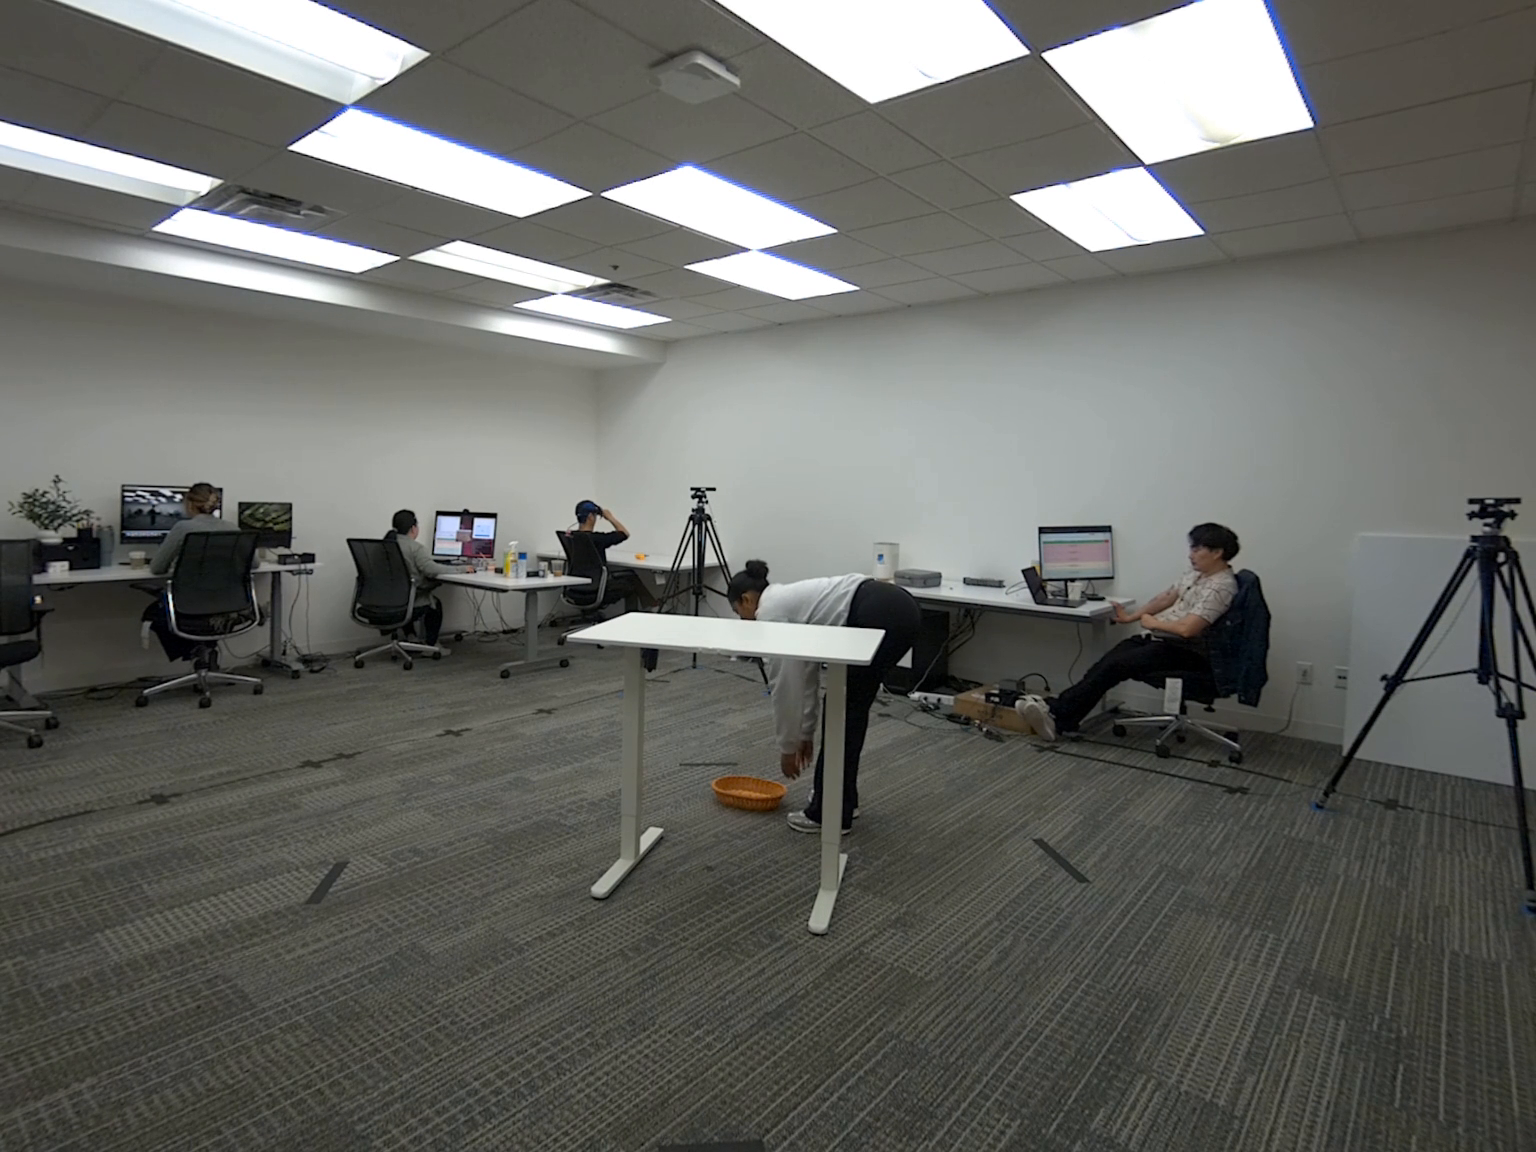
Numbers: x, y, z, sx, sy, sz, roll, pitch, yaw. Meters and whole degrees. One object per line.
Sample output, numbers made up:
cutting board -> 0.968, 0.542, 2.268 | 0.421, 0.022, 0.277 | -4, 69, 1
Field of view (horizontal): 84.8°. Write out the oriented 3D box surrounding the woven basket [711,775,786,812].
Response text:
woven basket -> -0.099, 0.959, 3.779 | 0.361, 0.073, 0.246 | 5, 7, 30
